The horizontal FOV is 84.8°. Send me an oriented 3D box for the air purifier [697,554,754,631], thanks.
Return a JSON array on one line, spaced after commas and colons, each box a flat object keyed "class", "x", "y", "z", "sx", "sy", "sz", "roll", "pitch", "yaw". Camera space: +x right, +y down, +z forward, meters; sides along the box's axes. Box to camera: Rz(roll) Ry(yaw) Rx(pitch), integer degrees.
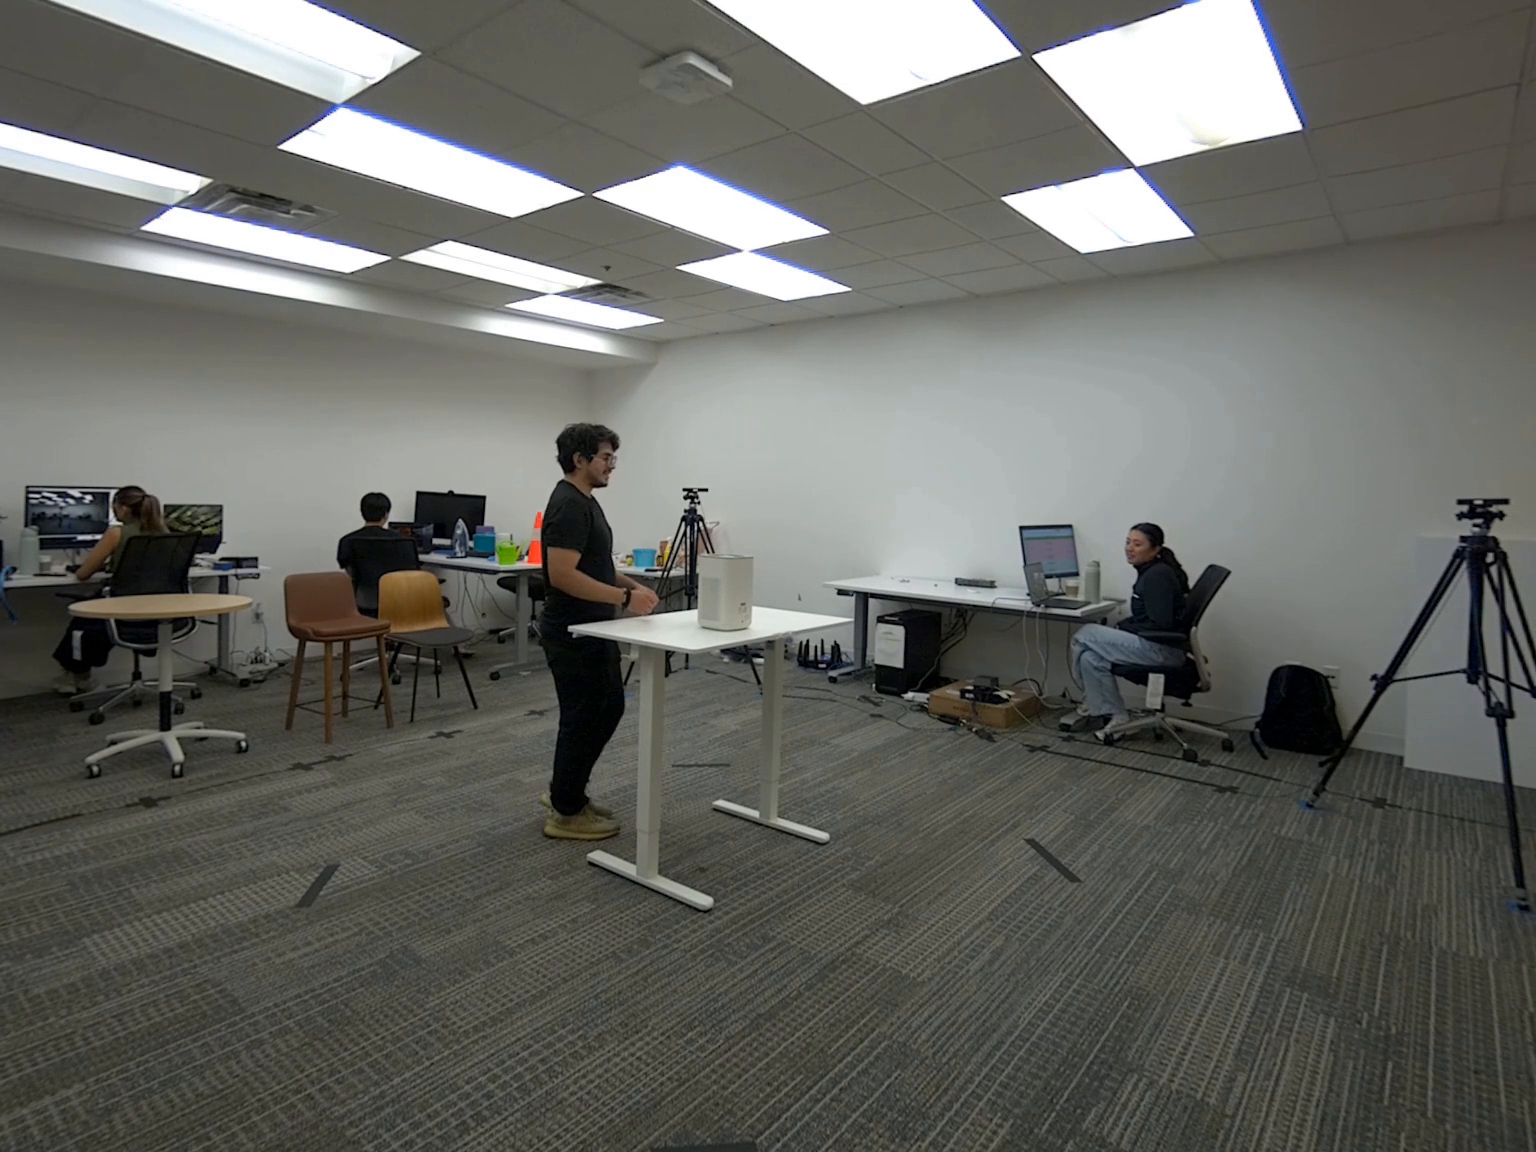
[{"class": "air purifier", "x": -0.164, "y": 0.053, "z": 3.109, "sx": 0.177, "sy": 0.265, "sz": 0.166, "roll": 4, "pitch": 3, "yaw": 38}]
